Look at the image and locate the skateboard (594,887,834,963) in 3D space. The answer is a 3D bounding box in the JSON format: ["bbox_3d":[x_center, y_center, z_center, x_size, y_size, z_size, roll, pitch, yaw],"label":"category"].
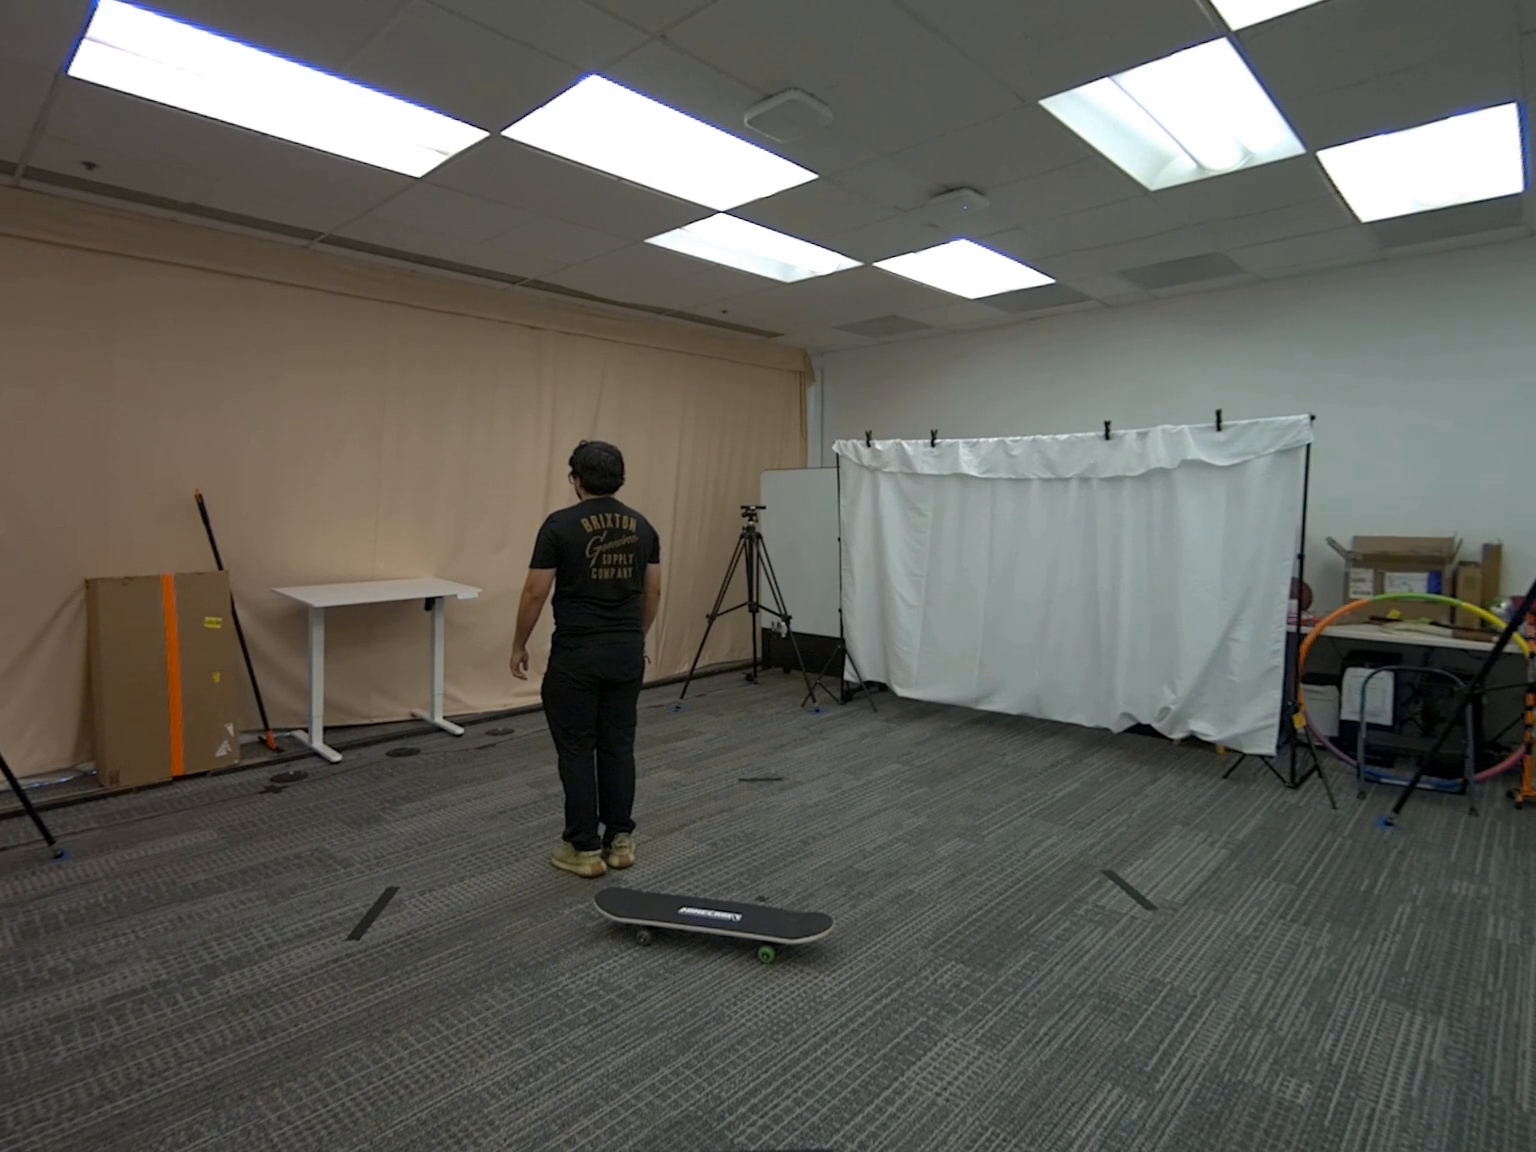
[{"bbox_3d":[-0.183,1.112,2.691,0.797,0.110,0.191,0,4,14],"label":"skateboard"}]
